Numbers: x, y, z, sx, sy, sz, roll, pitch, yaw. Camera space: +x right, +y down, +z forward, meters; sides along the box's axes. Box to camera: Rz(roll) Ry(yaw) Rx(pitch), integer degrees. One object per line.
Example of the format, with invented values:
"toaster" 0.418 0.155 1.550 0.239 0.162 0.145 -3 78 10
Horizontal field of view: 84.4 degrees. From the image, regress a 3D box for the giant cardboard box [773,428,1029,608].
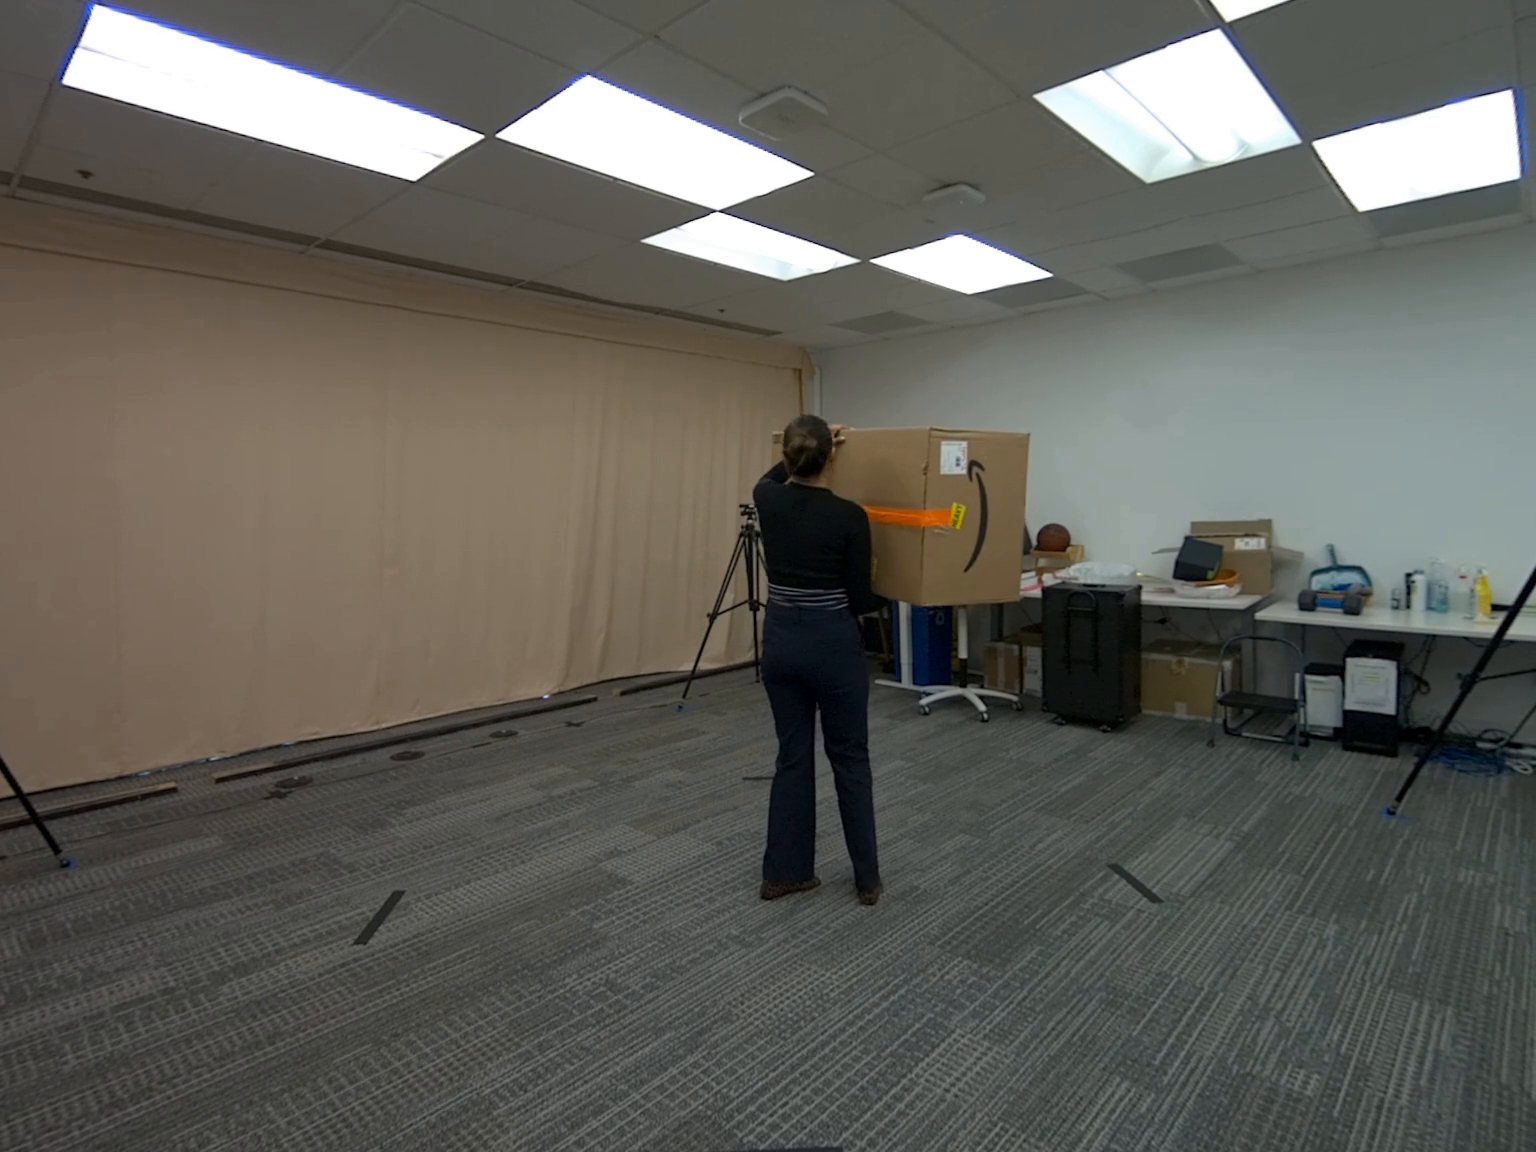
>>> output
"giant cardboard box" 0.433 -0.261 3.203 0.415 0.575 1.056 -2 8 -28
